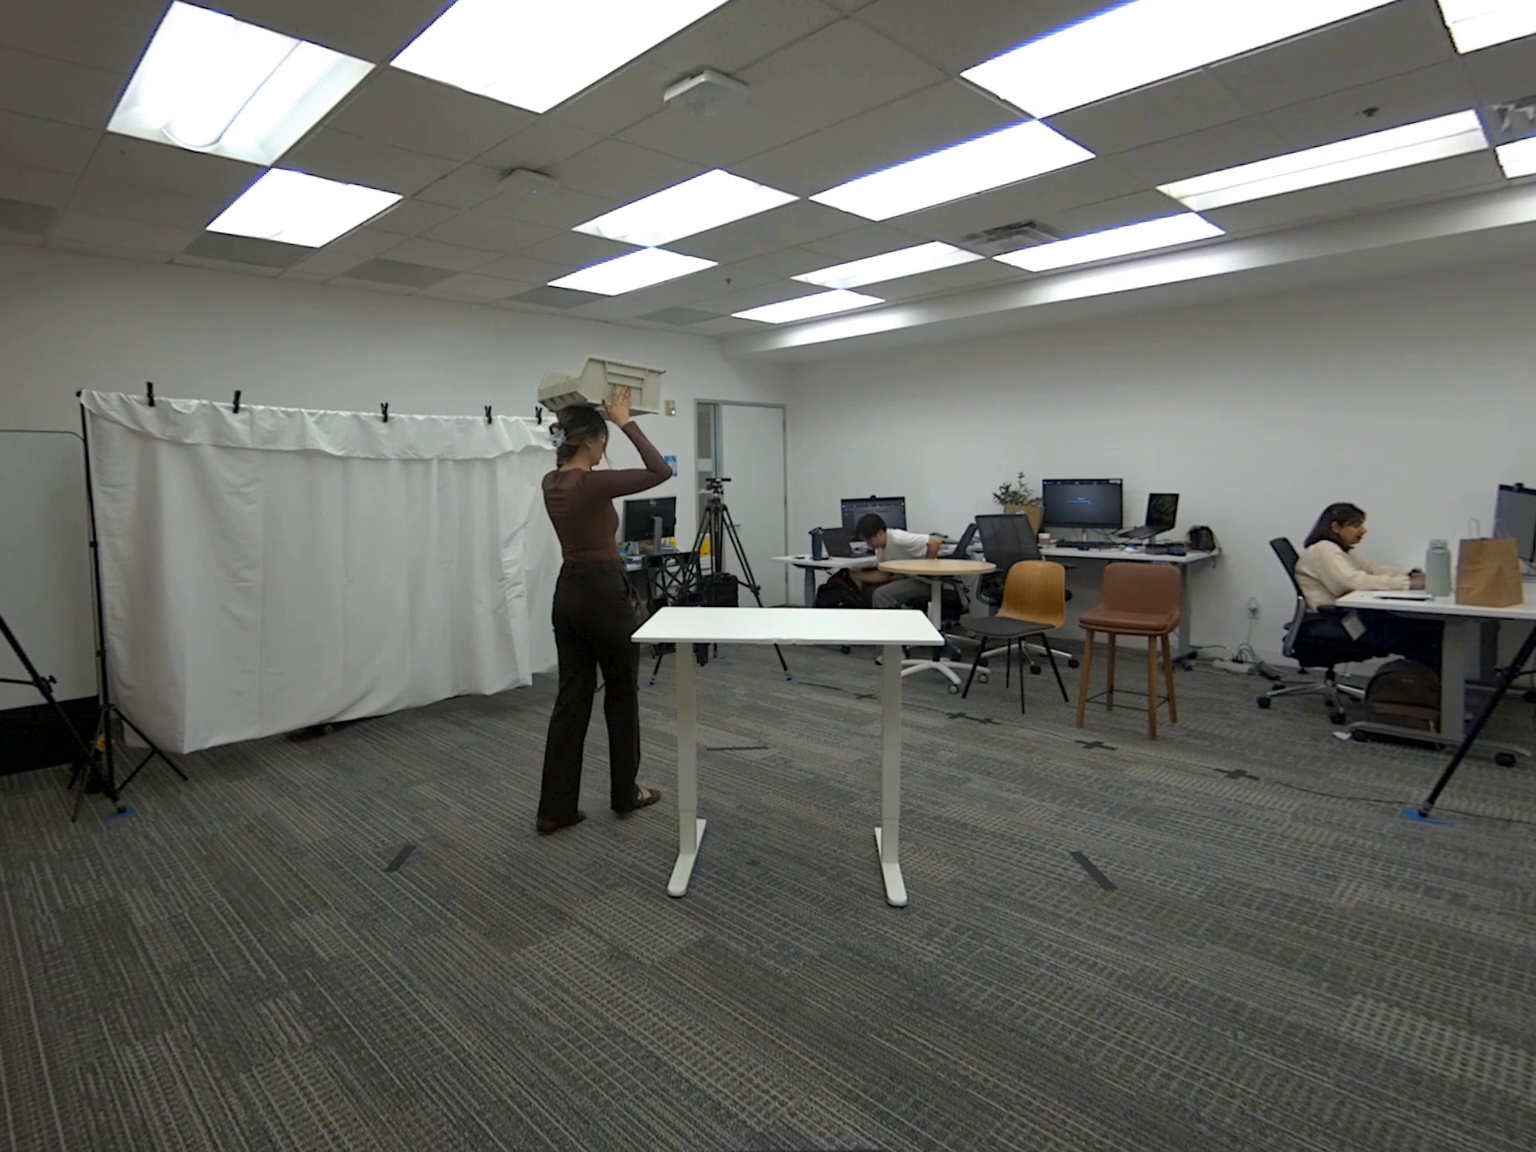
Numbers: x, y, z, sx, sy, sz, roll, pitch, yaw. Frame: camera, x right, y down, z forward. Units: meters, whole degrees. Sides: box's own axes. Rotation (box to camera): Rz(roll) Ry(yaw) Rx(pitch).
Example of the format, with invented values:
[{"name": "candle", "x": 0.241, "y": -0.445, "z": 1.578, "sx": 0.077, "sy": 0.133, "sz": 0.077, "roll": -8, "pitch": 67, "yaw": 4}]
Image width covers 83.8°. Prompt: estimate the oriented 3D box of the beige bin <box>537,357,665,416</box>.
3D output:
[{"name": "beige bin", "x": -0.687, "y": -0.760, "z": 3.494, "sx": 0.367, "sy": 0.189, "sz": 0.434, "roll": 4, "pitch": 2, "yaw": -34}]
